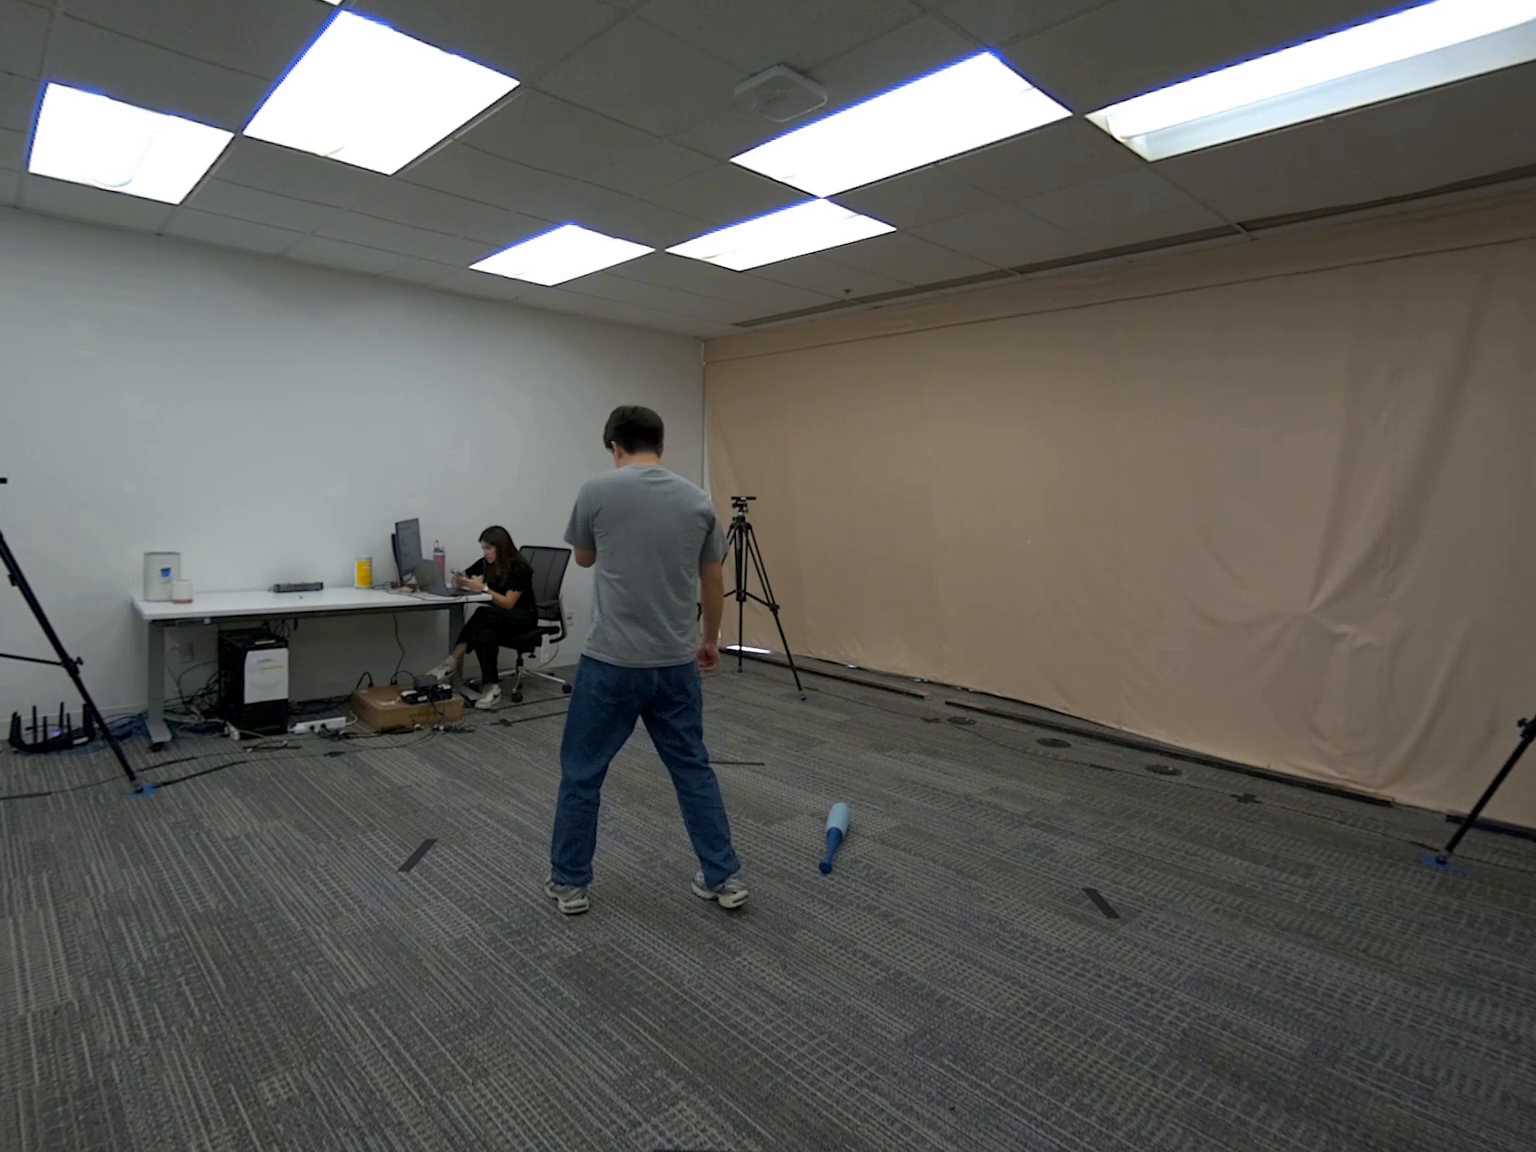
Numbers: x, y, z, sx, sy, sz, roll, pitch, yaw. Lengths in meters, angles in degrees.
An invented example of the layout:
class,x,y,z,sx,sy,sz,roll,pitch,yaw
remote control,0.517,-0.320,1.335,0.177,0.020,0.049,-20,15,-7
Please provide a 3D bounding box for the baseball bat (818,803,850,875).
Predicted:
class,x,y,z,sx,sy,sz,roll,pitch,yaw
baseball bat,0.259,1.053,3.388,0.090,0.088,0.541,2,8,9
